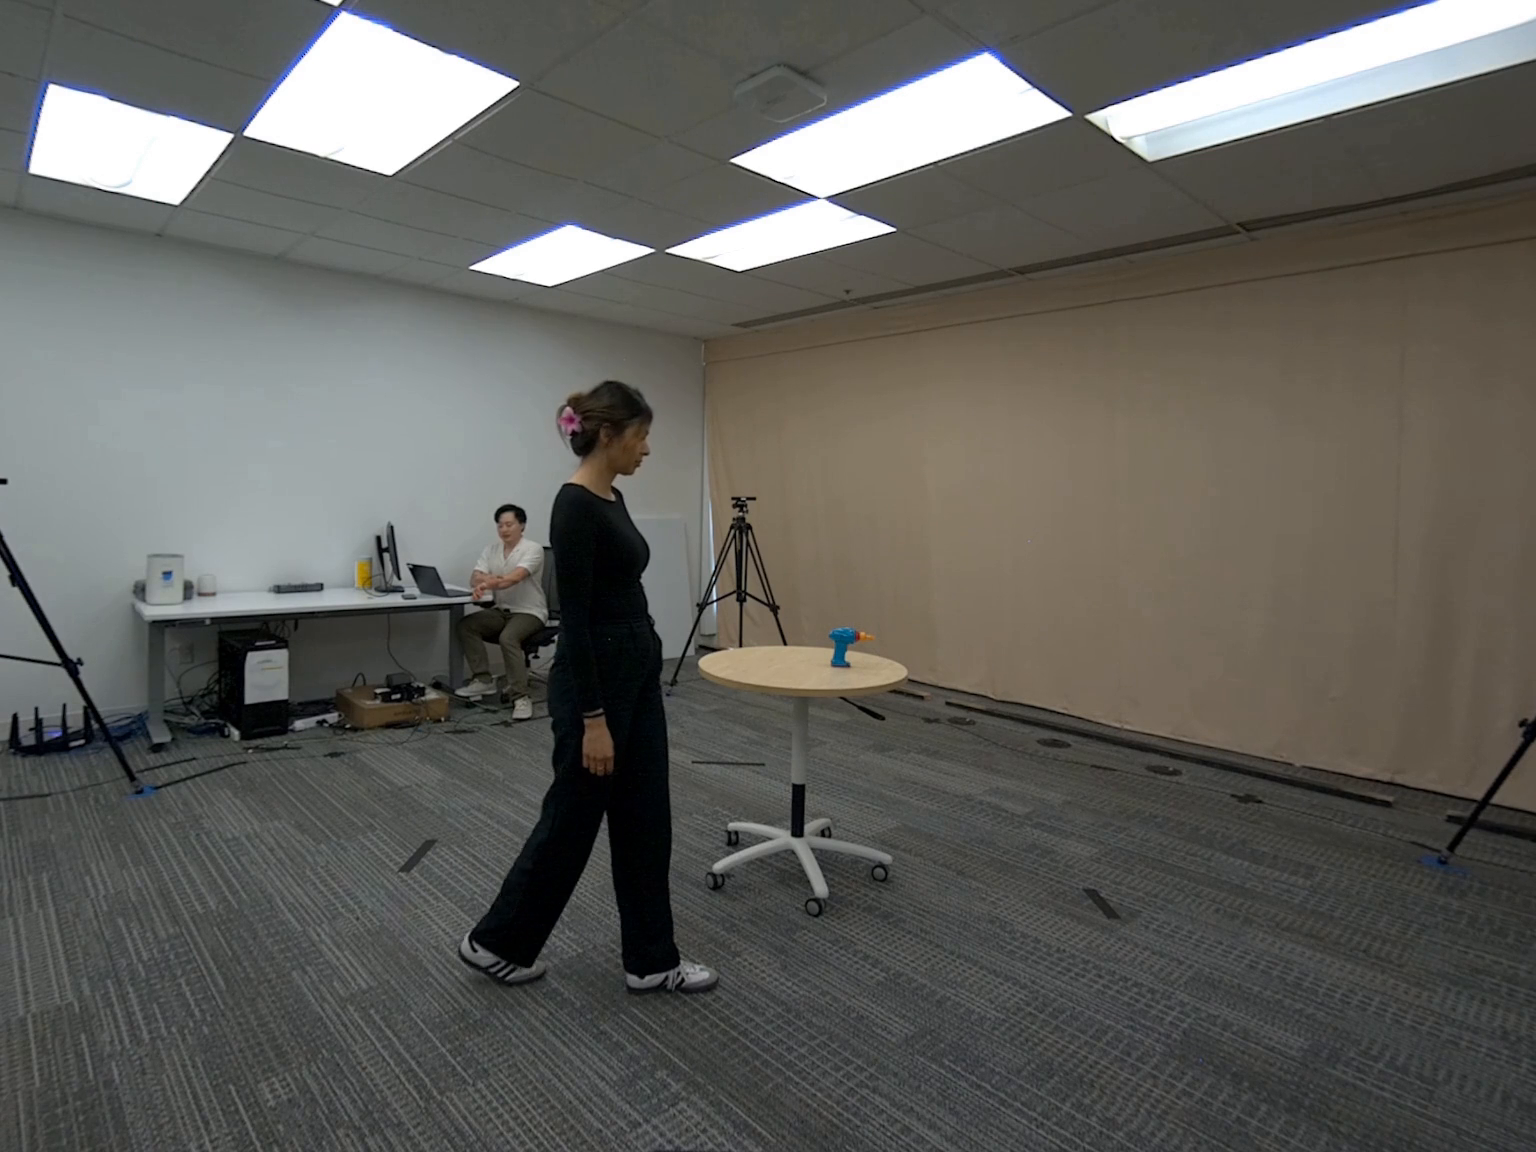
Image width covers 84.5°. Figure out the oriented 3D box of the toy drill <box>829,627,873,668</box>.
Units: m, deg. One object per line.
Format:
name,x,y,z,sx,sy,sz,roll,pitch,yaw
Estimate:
toy drill,0.304,0.262,3.093,0.170,0.145,0.061,-1,6,2
